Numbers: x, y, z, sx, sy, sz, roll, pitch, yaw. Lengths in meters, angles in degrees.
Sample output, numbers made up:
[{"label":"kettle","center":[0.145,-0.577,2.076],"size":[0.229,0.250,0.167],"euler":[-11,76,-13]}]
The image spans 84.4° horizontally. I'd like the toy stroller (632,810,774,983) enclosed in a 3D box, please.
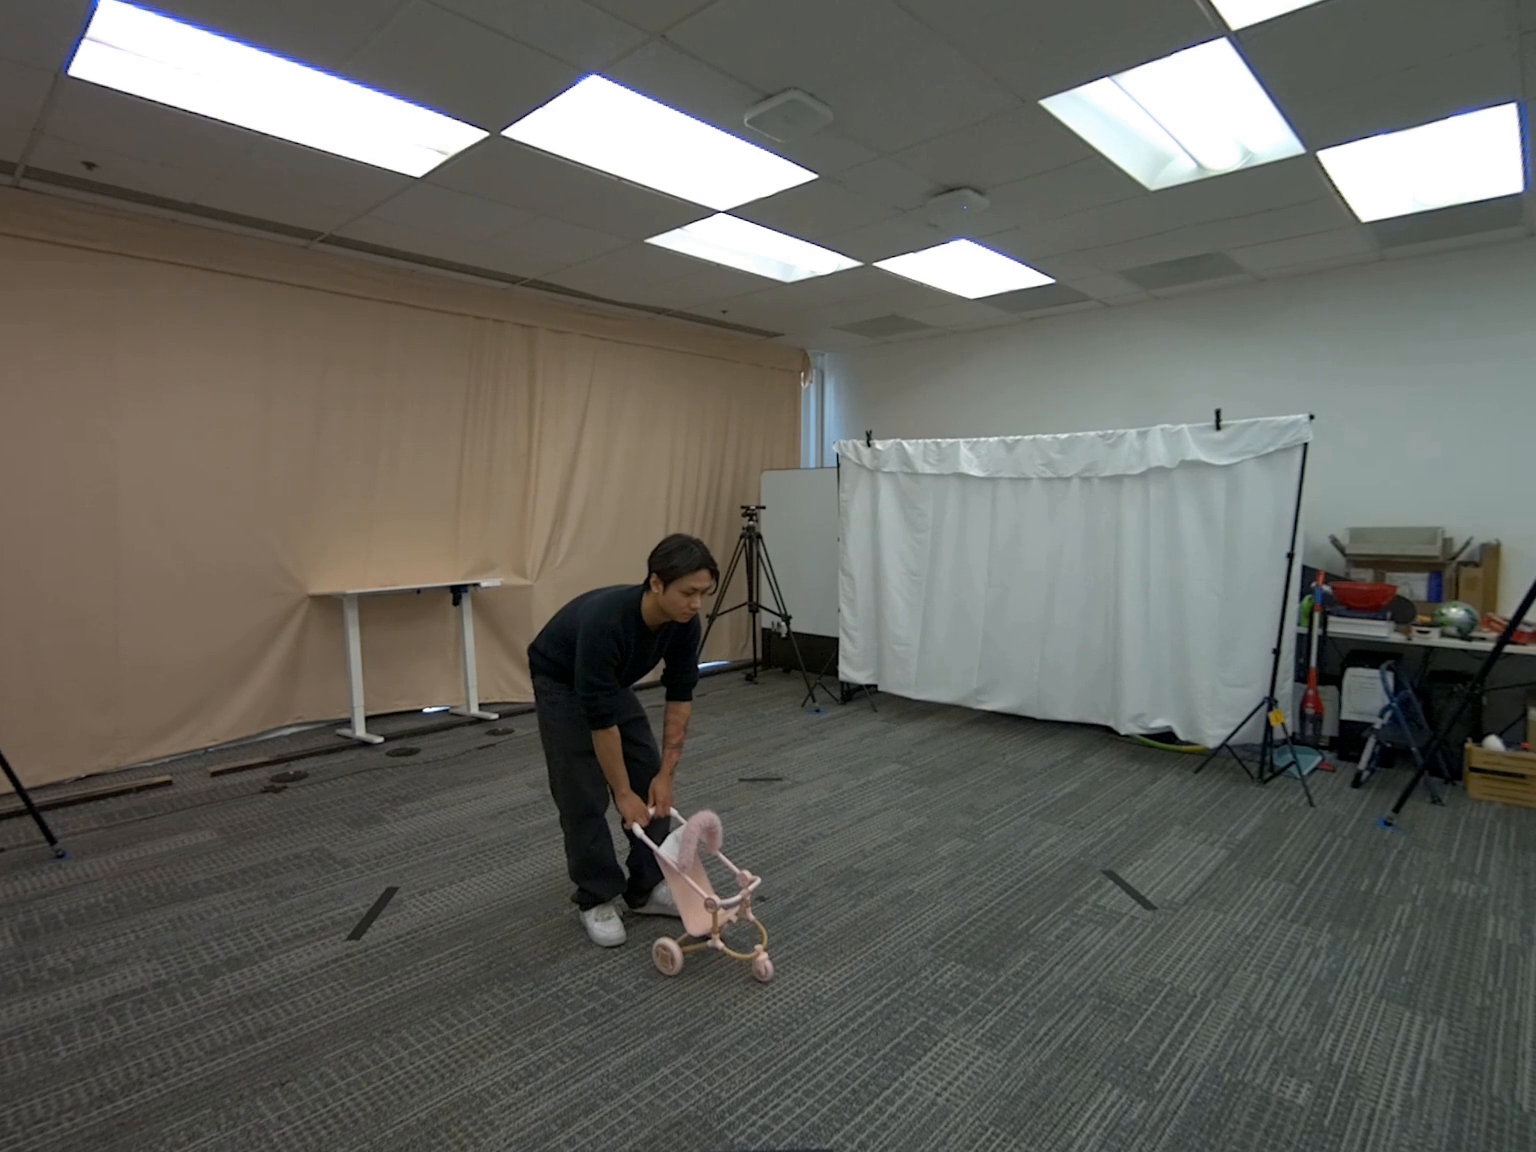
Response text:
[{"label":"toy stroller","center":[-0.176,0.960,2.553],"size":[0.349,0.538,0.273],"euler":[-17,-7,35]}]
